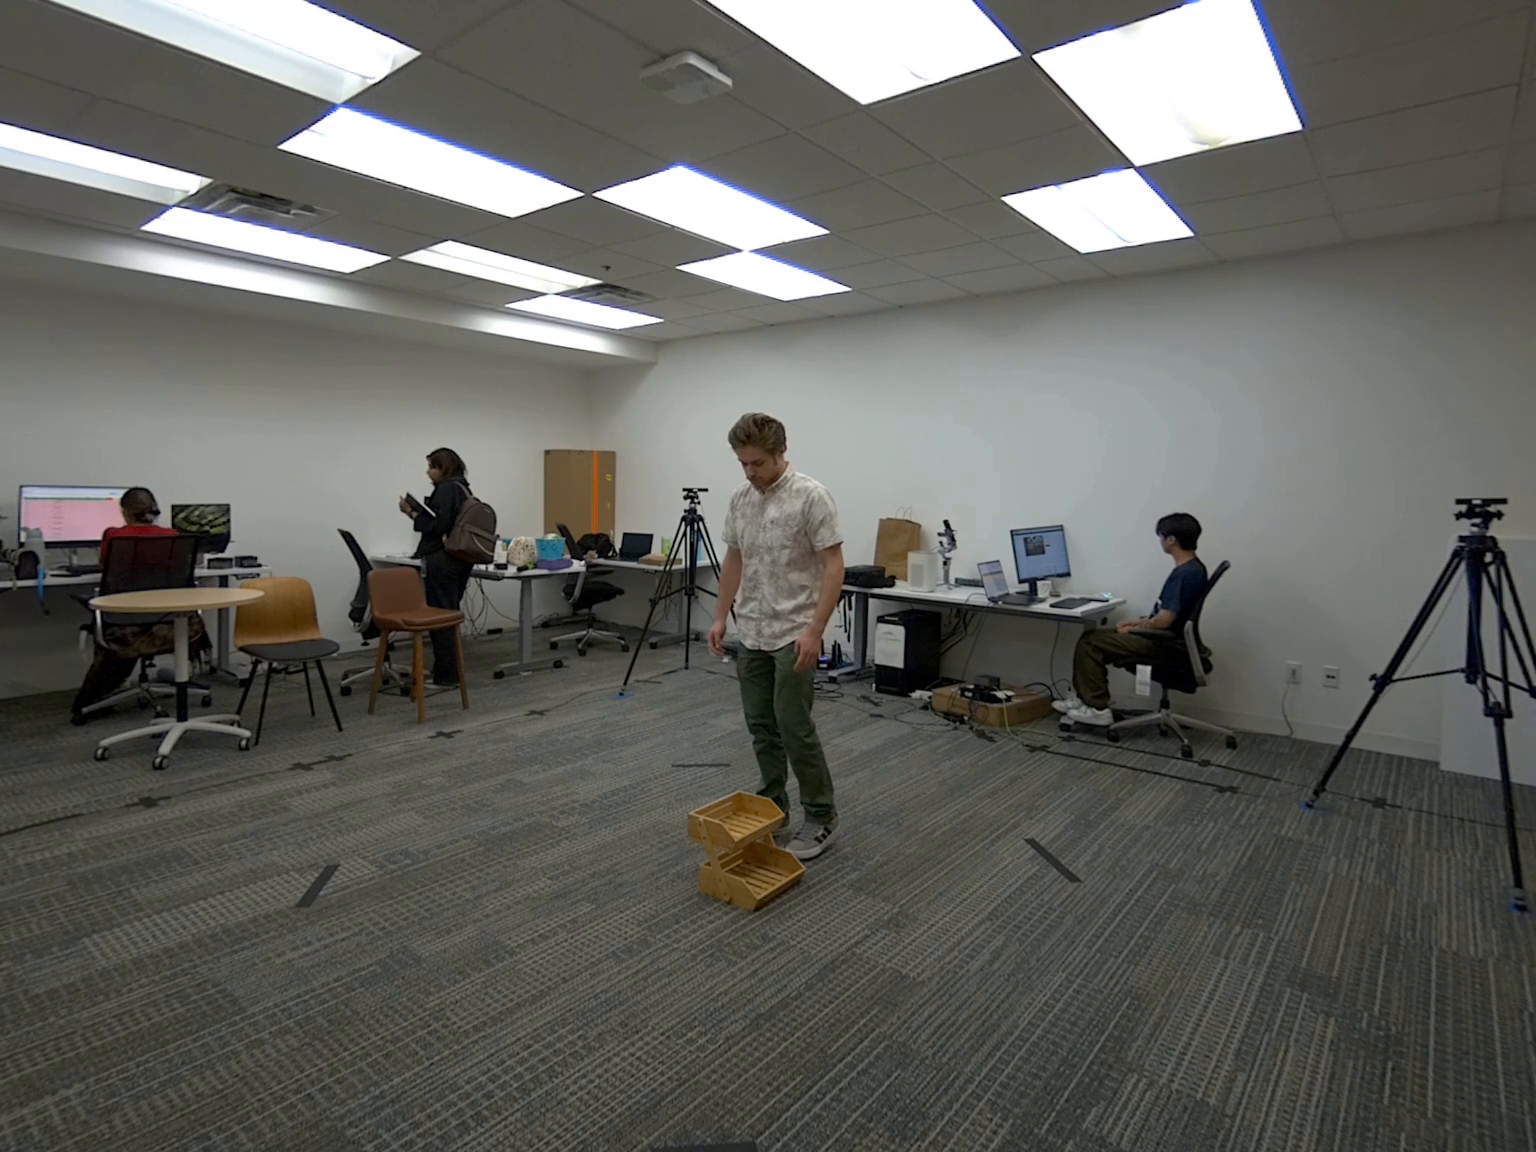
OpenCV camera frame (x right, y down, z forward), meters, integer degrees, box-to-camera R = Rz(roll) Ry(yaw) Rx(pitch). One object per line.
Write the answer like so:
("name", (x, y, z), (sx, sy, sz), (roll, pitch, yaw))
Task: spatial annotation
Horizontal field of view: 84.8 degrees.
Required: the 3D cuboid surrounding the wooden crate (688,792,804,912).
("wooden crate", (-0.078, 0.948, 2.990), (0.312, 0.272, 0.315), (3, 5, 36))
